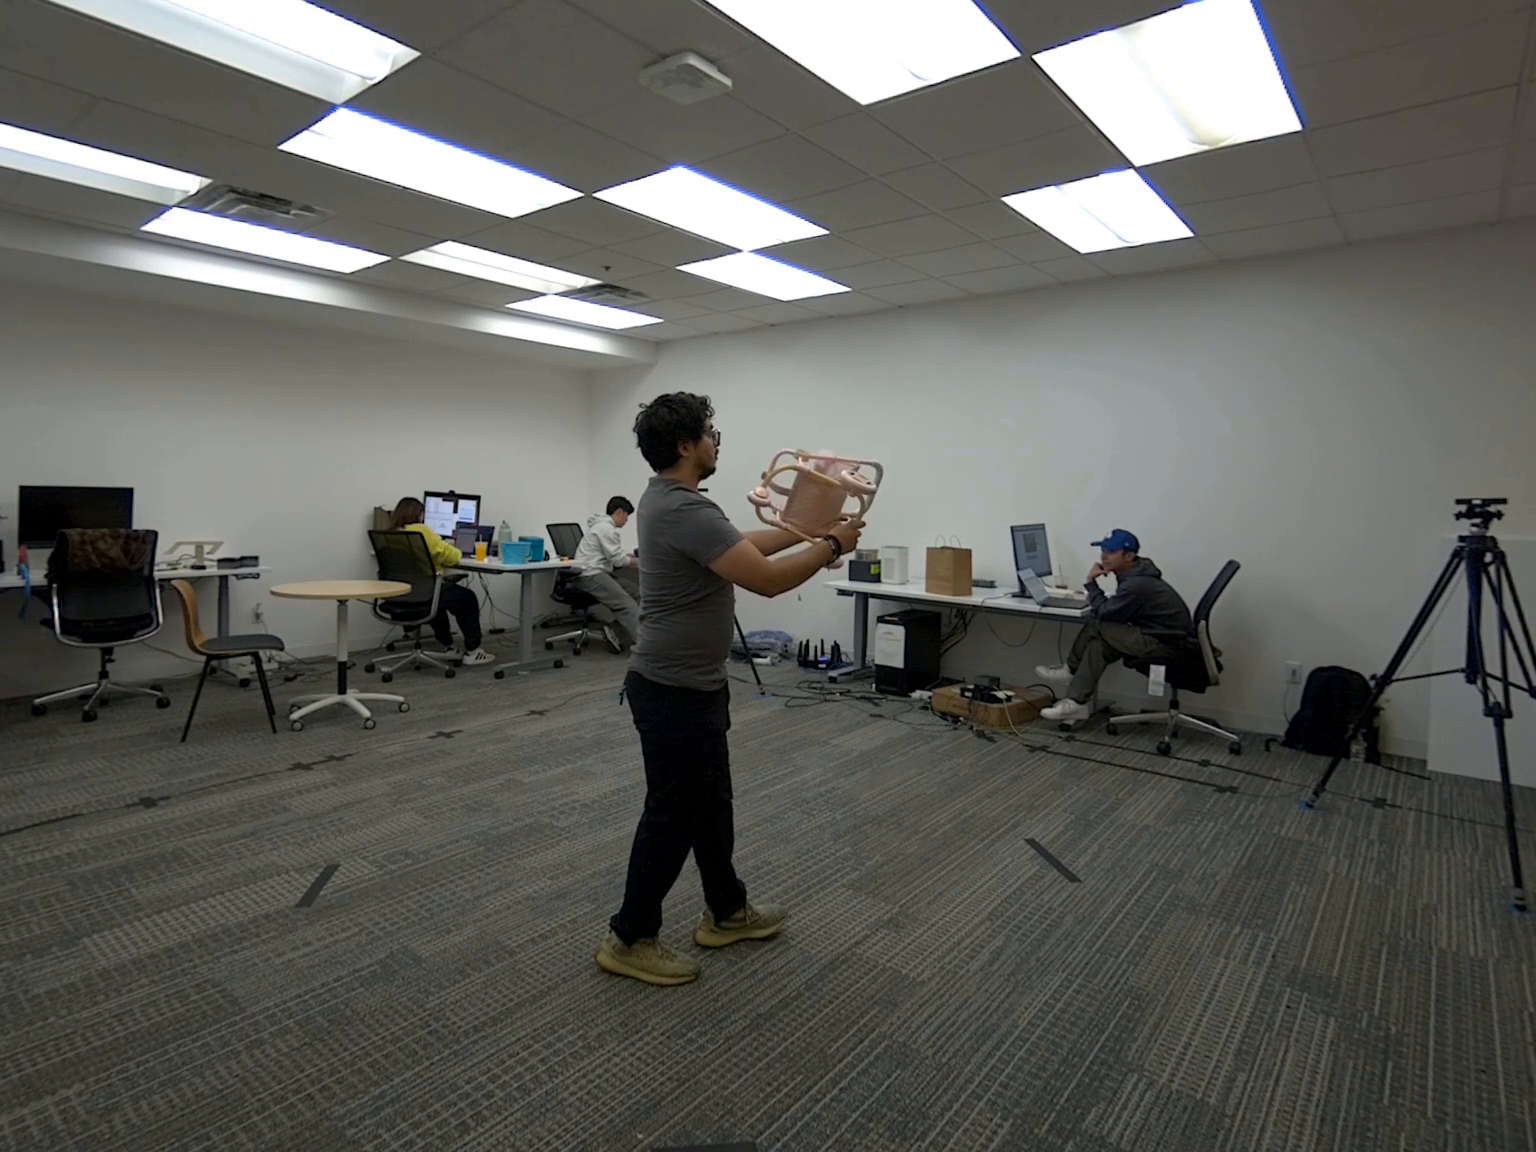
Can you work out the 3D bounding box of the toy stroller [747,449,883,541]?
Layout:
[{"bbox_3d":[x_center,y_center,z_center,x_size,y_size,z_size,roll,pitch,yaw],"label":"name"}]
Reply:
[{"bbox_3d":[0.133,-0.255,2.600,0.346,0.277,0.536,19,25,8],"label":"toy stroller"}]
